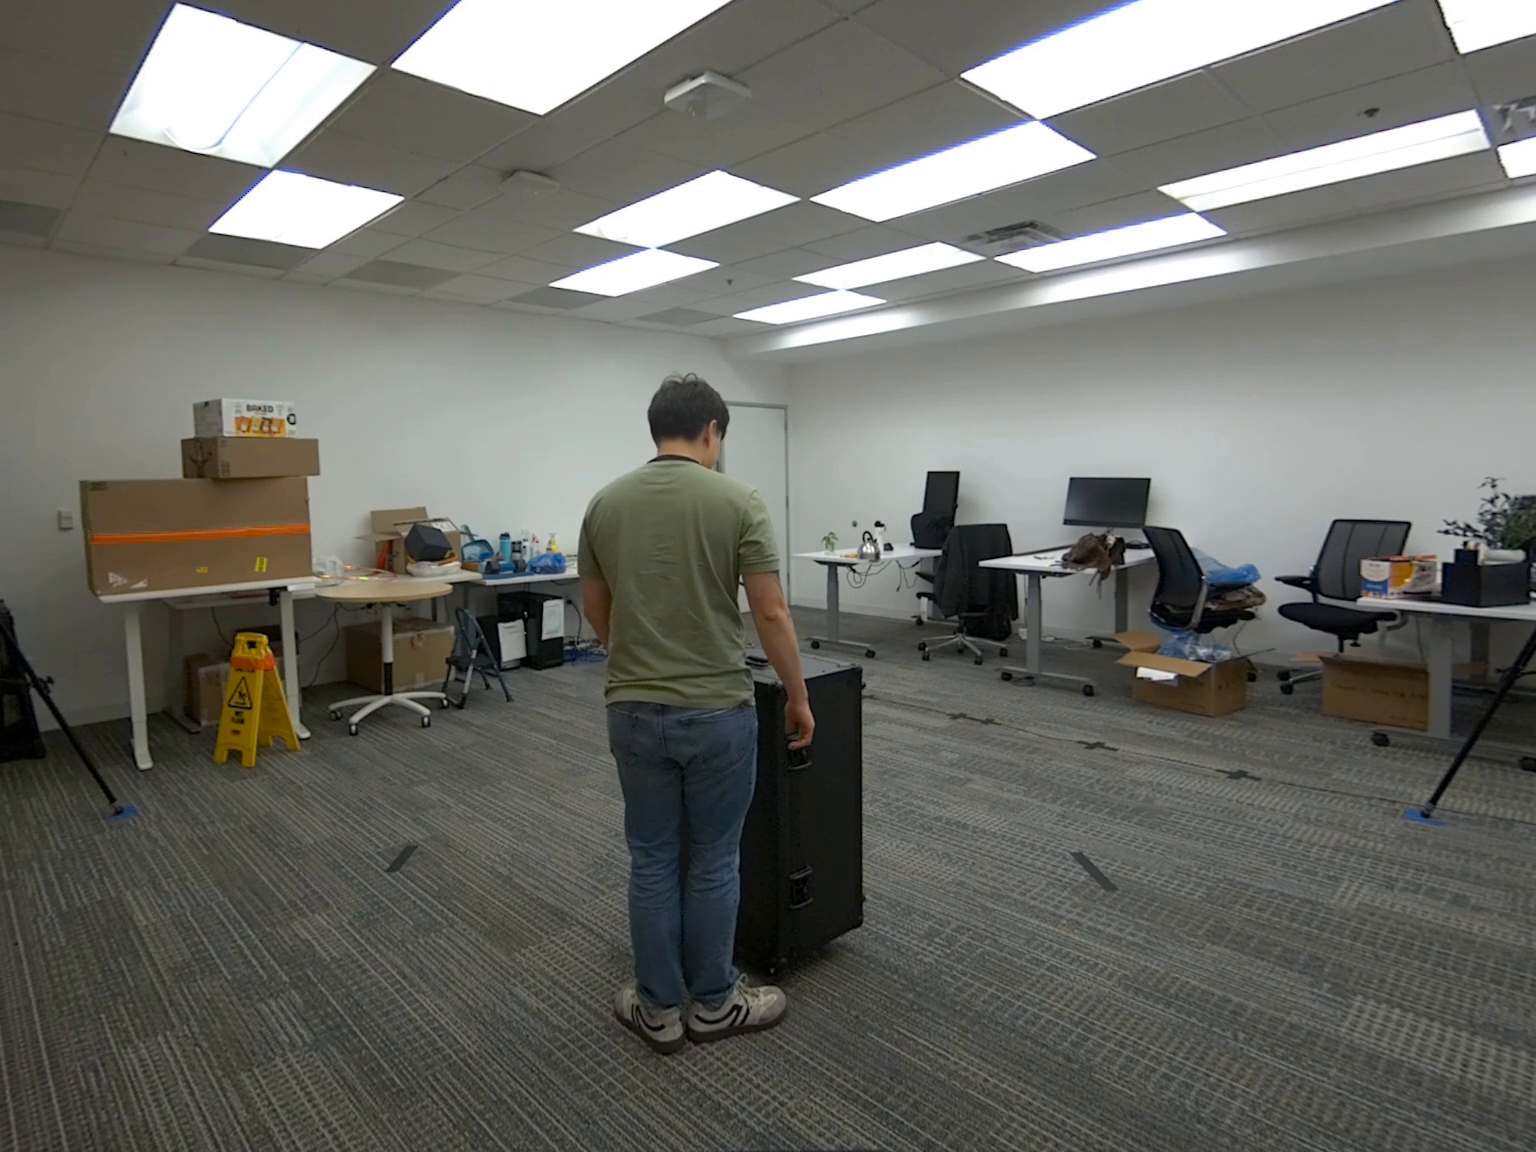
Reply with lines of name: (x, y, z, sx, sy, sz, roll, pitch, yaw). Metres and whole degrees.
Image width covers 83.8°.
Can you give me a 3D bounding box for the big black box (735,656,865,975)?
big black box: (-0.005, 0.677, 2.588, 0.385, 0.859, 0.537, -3, 4, -43)
